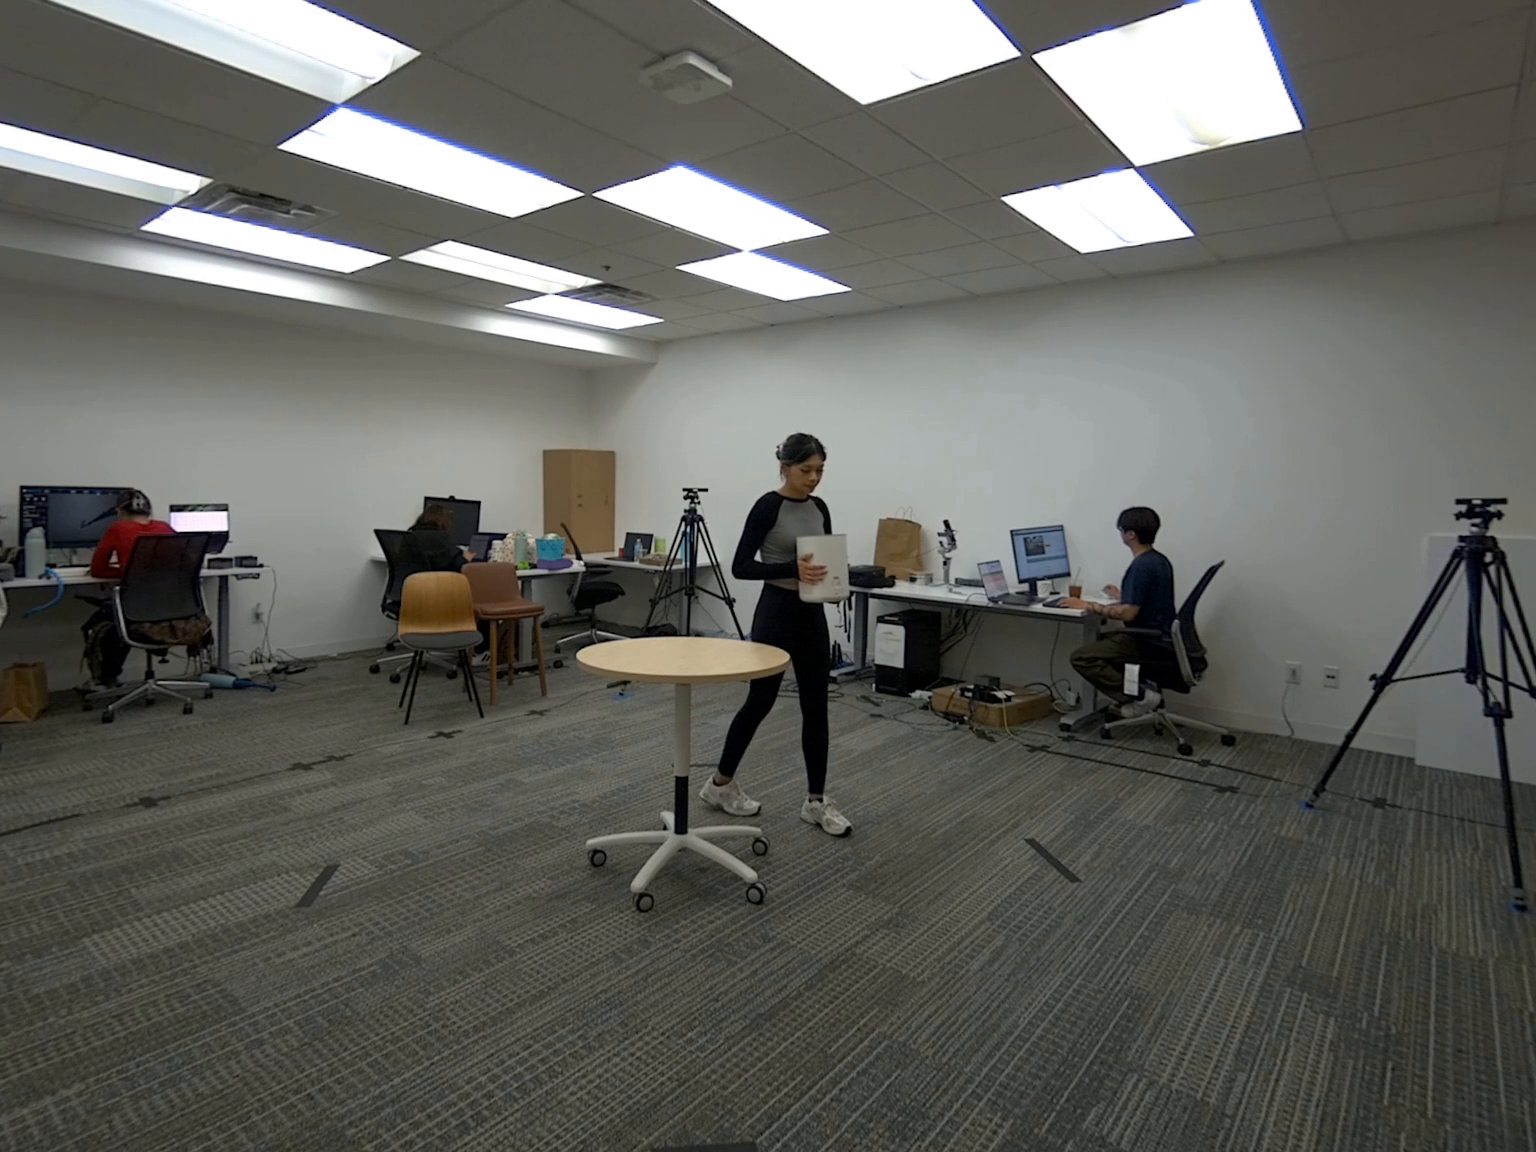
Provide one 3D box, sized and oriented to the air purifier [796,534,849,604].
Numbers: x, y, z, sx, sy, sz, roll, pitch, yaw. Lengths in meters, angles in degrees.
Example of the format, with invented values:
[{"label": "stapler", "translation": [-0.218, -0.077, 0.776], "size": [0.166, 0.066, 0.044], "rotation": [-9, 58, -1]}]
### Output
[{"label": "air purifier", "translation": [0.190, -0.030, 3.379], "size": [0.167, 0.265, 0.176], "rotation": [-4, 0, -31]}]
